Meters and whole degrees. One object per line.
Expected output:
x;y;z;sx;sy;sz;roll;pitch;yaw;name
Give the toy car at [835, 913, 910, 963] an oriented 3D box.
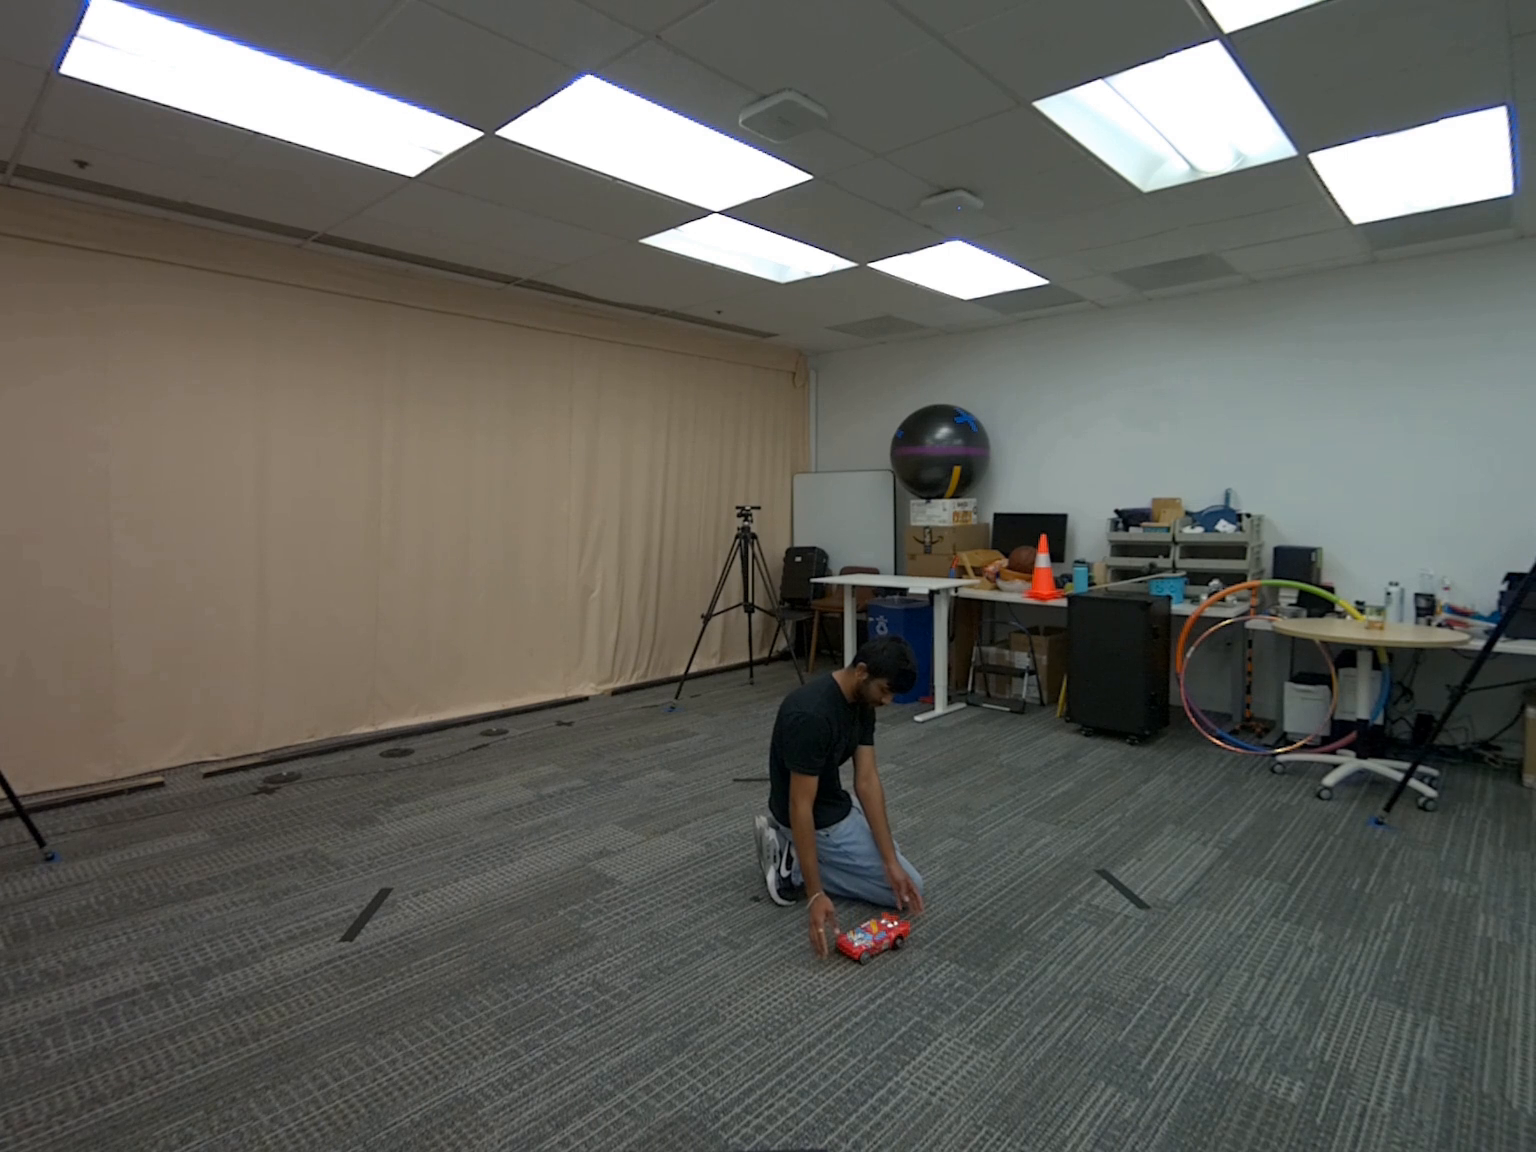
0.331;1.128;2.656;0.249;0.082;0.134;-18;15;-33;toy car
